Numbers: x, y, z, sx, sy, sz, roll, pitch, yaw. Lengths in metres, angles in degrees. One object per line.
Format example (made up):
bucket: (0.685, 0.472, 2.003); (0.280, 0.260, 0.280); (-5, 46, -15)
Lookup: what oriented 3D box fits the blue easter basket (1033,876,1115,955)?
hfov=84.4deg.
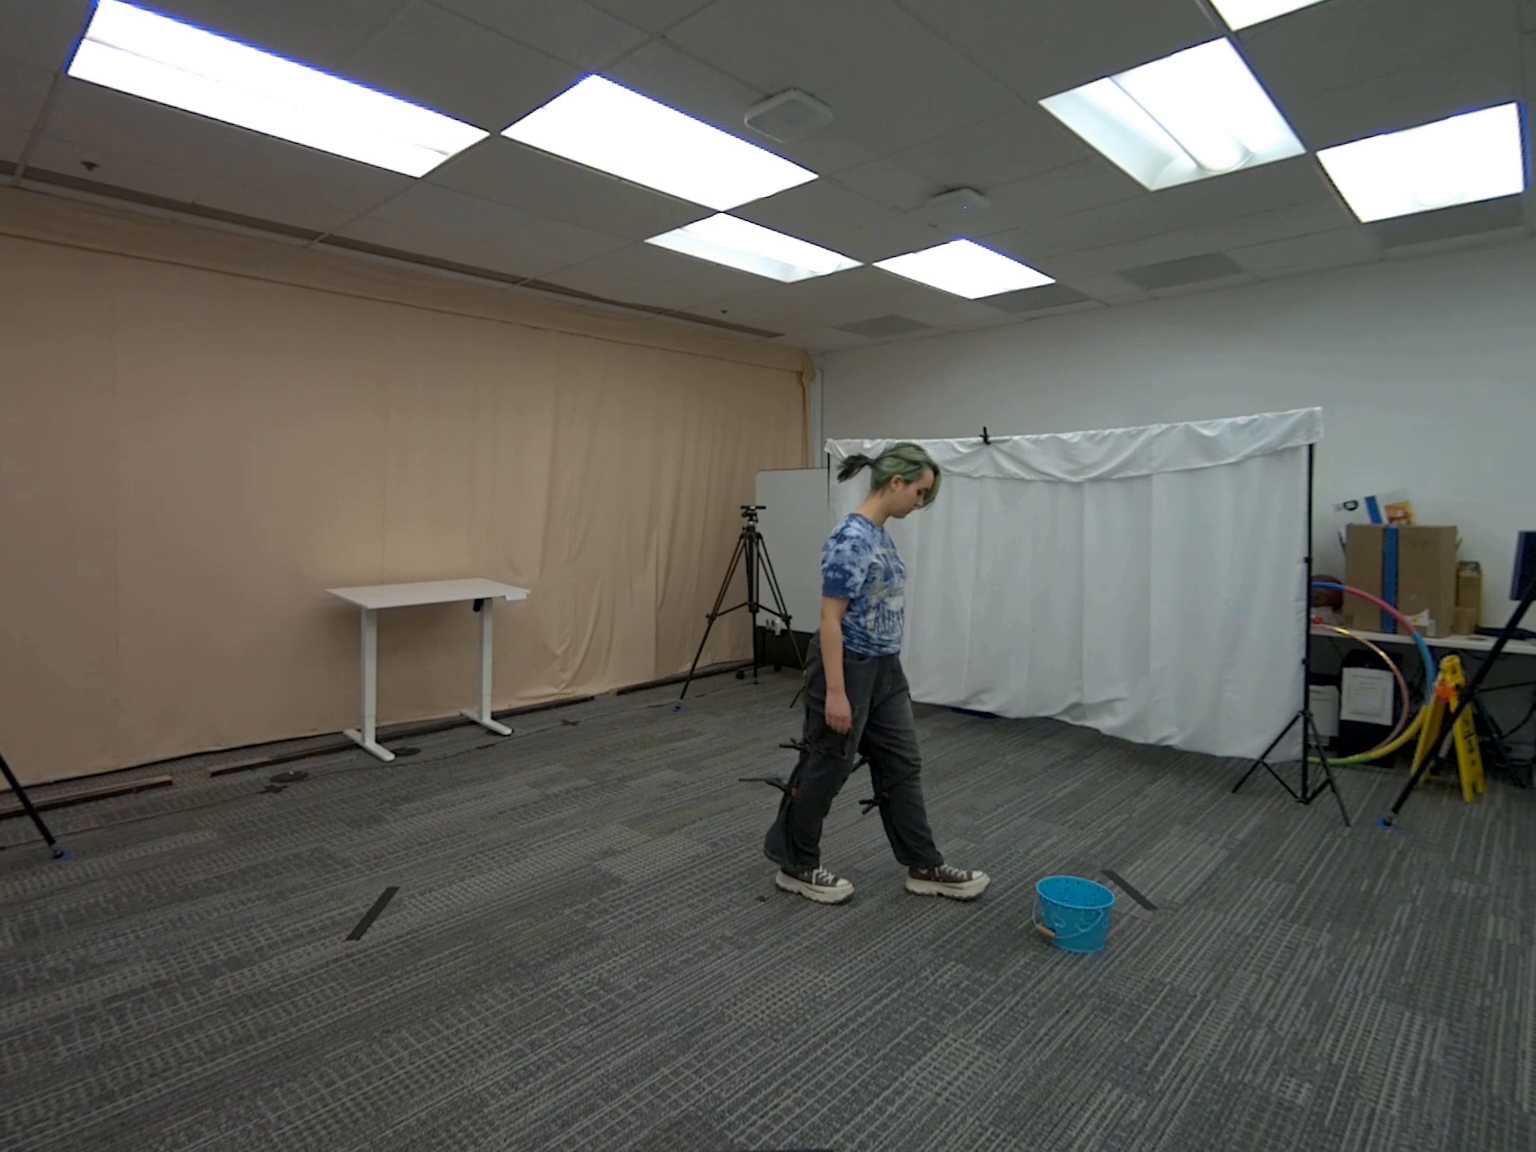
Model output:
blue easter basket: (0.989, 1.088, 2.704); (0.243, 0.155, 0.244); (0, 4, -2)
